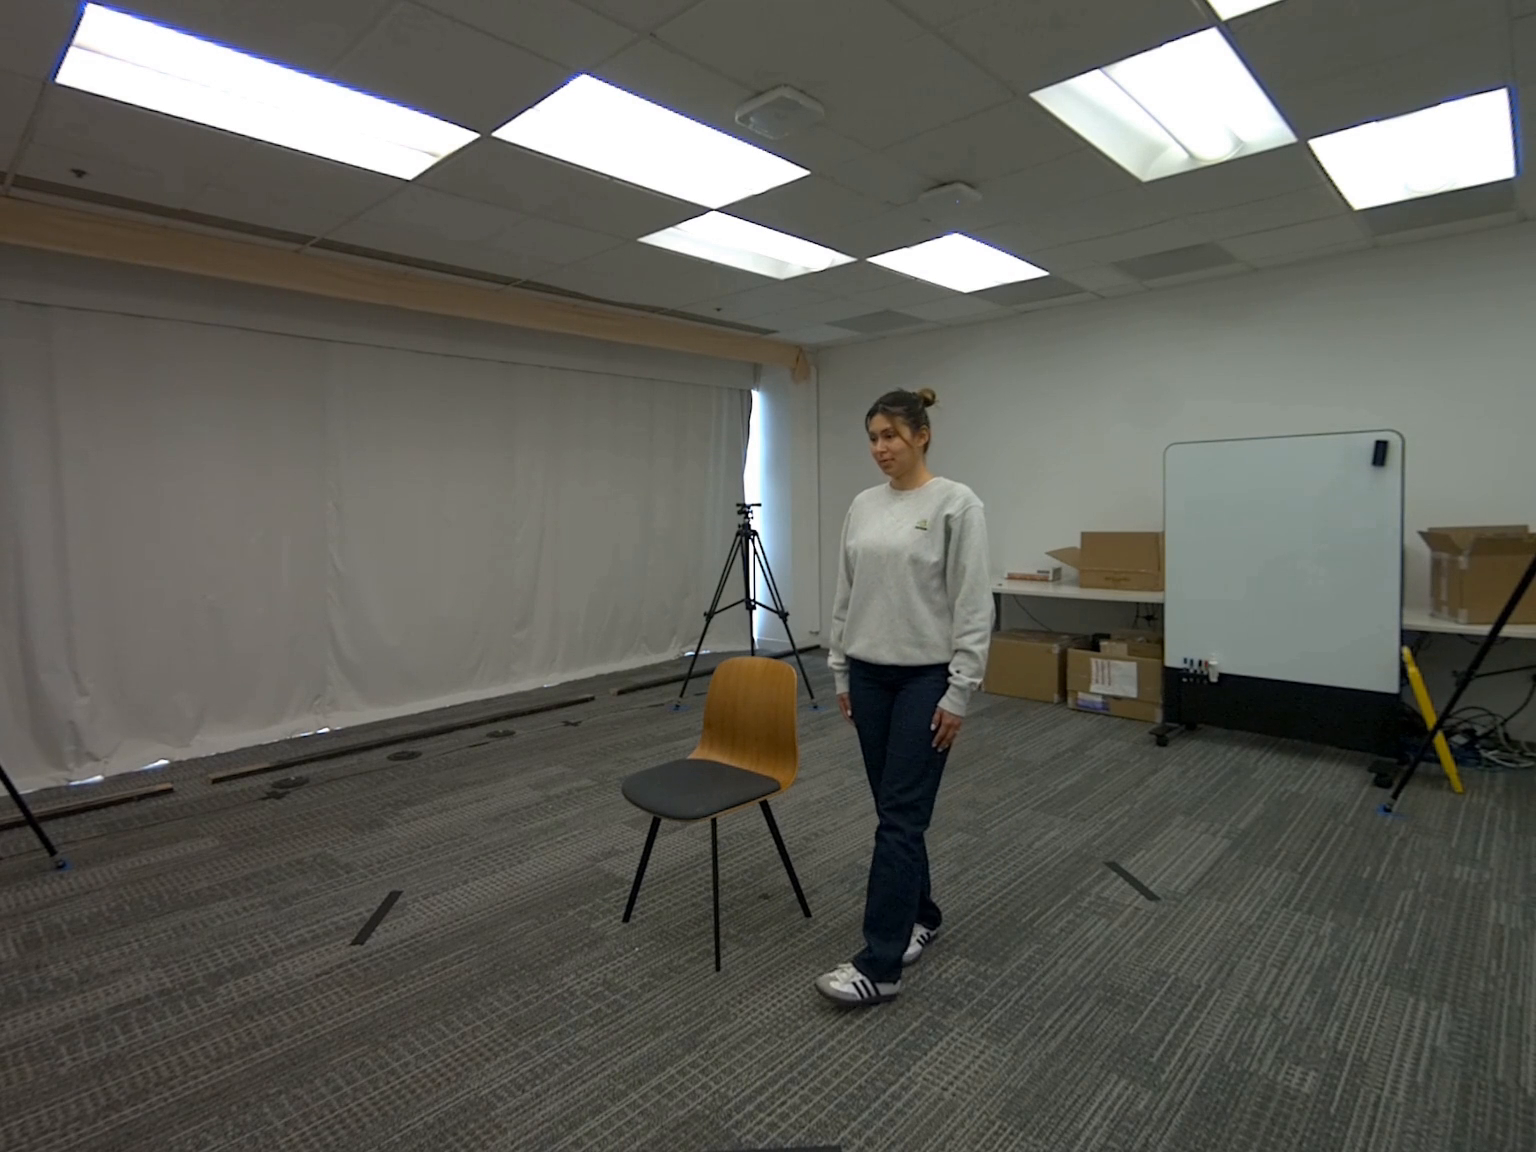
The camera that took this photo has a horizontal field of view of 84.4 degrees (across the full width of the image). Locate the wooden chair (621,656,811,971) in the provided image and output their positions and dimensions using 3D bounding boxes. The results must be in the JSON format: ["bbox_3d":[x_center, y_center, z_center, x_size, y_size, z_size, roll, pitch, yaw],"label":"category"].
[{"bbox_3d":[-0.179,0.731,2.793,0.494,0.877,0.506,3,1,43],"label":"wooden chair"}]
